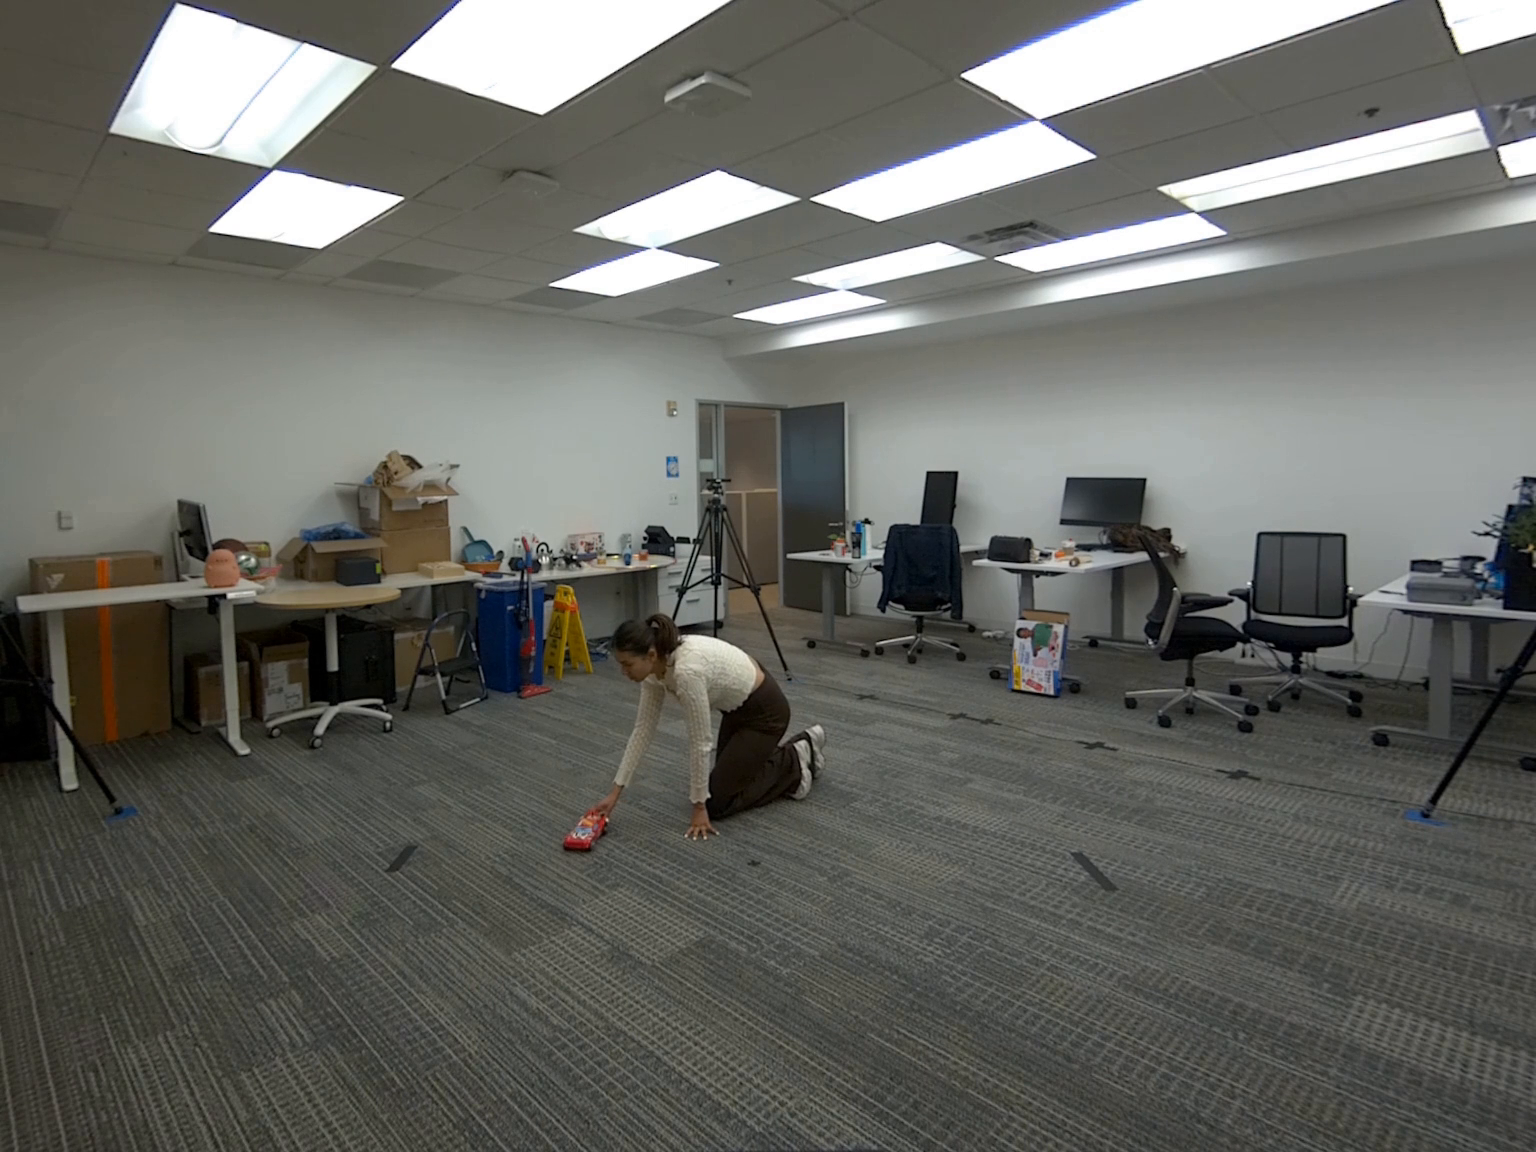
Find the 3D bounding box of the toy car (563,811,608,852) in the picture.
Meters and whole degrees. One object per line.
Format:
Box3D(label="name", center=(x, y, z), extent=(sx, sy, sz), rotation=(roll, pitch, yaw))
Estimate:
Box3D(label="toy car", center=(-0.708, 1.000, 3.339), extent=(0.131, 0.082, 0.256), rotation=(-1, 16, 8))
